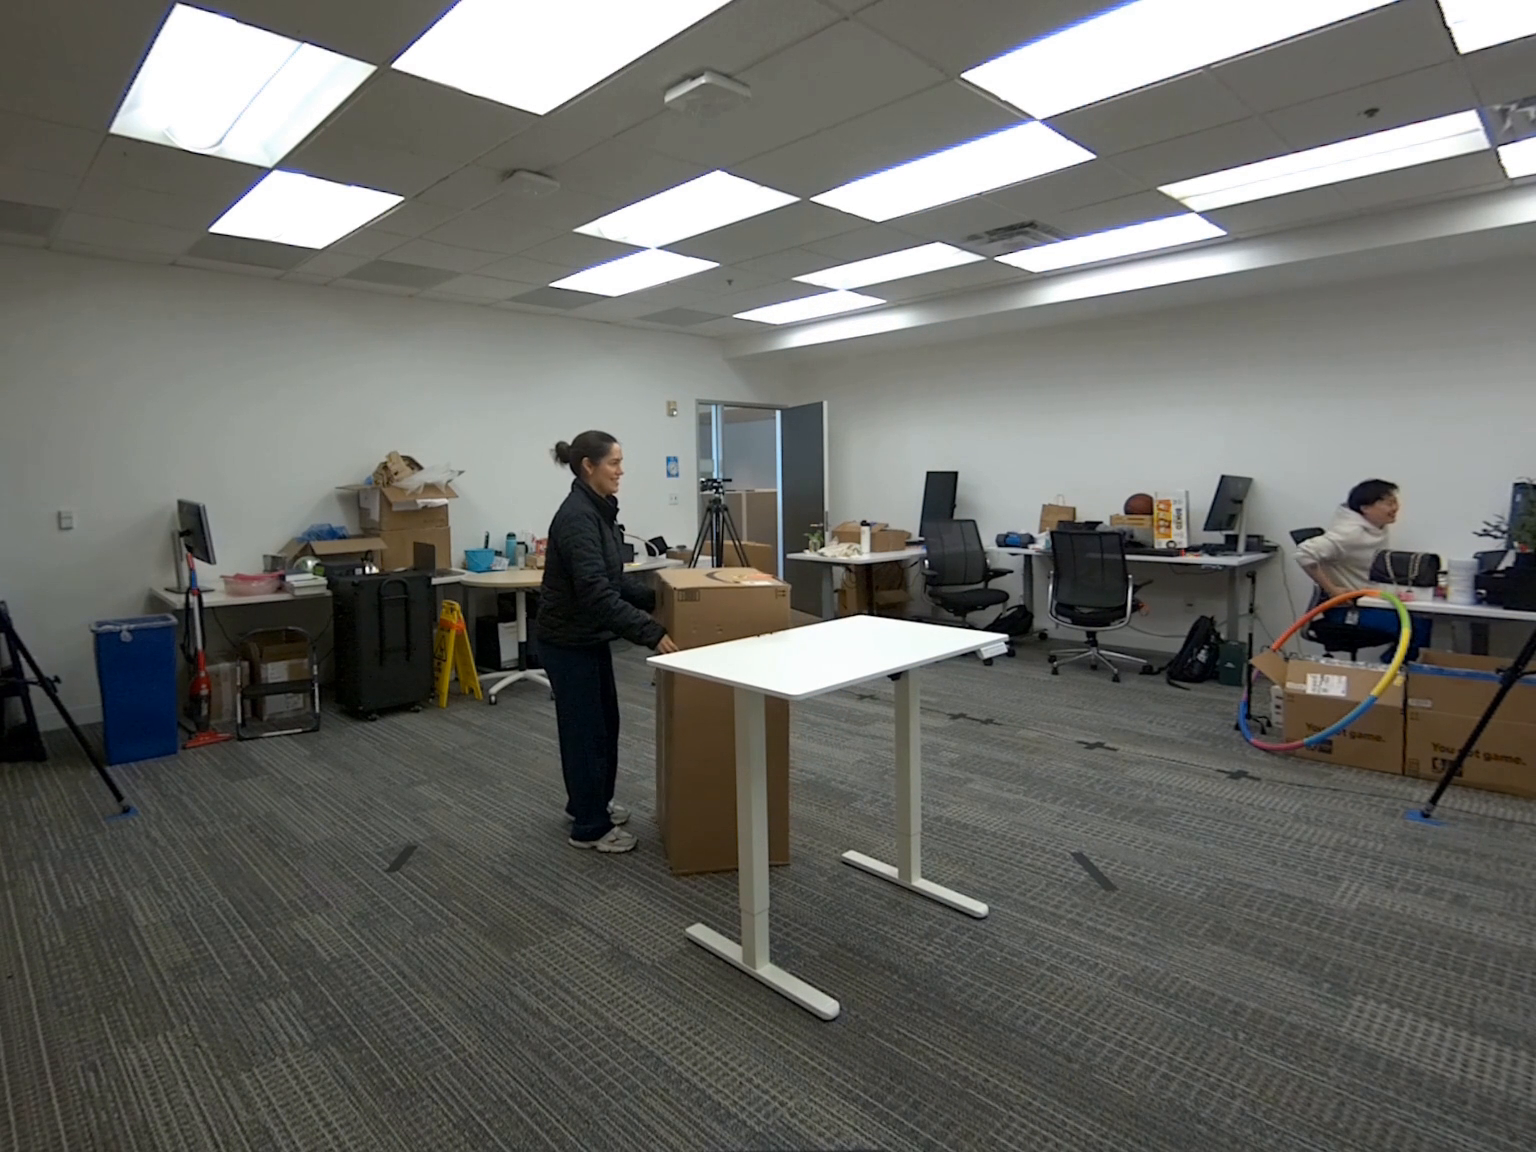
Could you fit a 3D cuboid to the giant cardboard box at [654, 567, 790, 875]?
[{"bbox_3d":[-0.190,0.513,3.297,0.421,1.022,0.586,0,4,-13],"label":"giant cardboard box"}]
